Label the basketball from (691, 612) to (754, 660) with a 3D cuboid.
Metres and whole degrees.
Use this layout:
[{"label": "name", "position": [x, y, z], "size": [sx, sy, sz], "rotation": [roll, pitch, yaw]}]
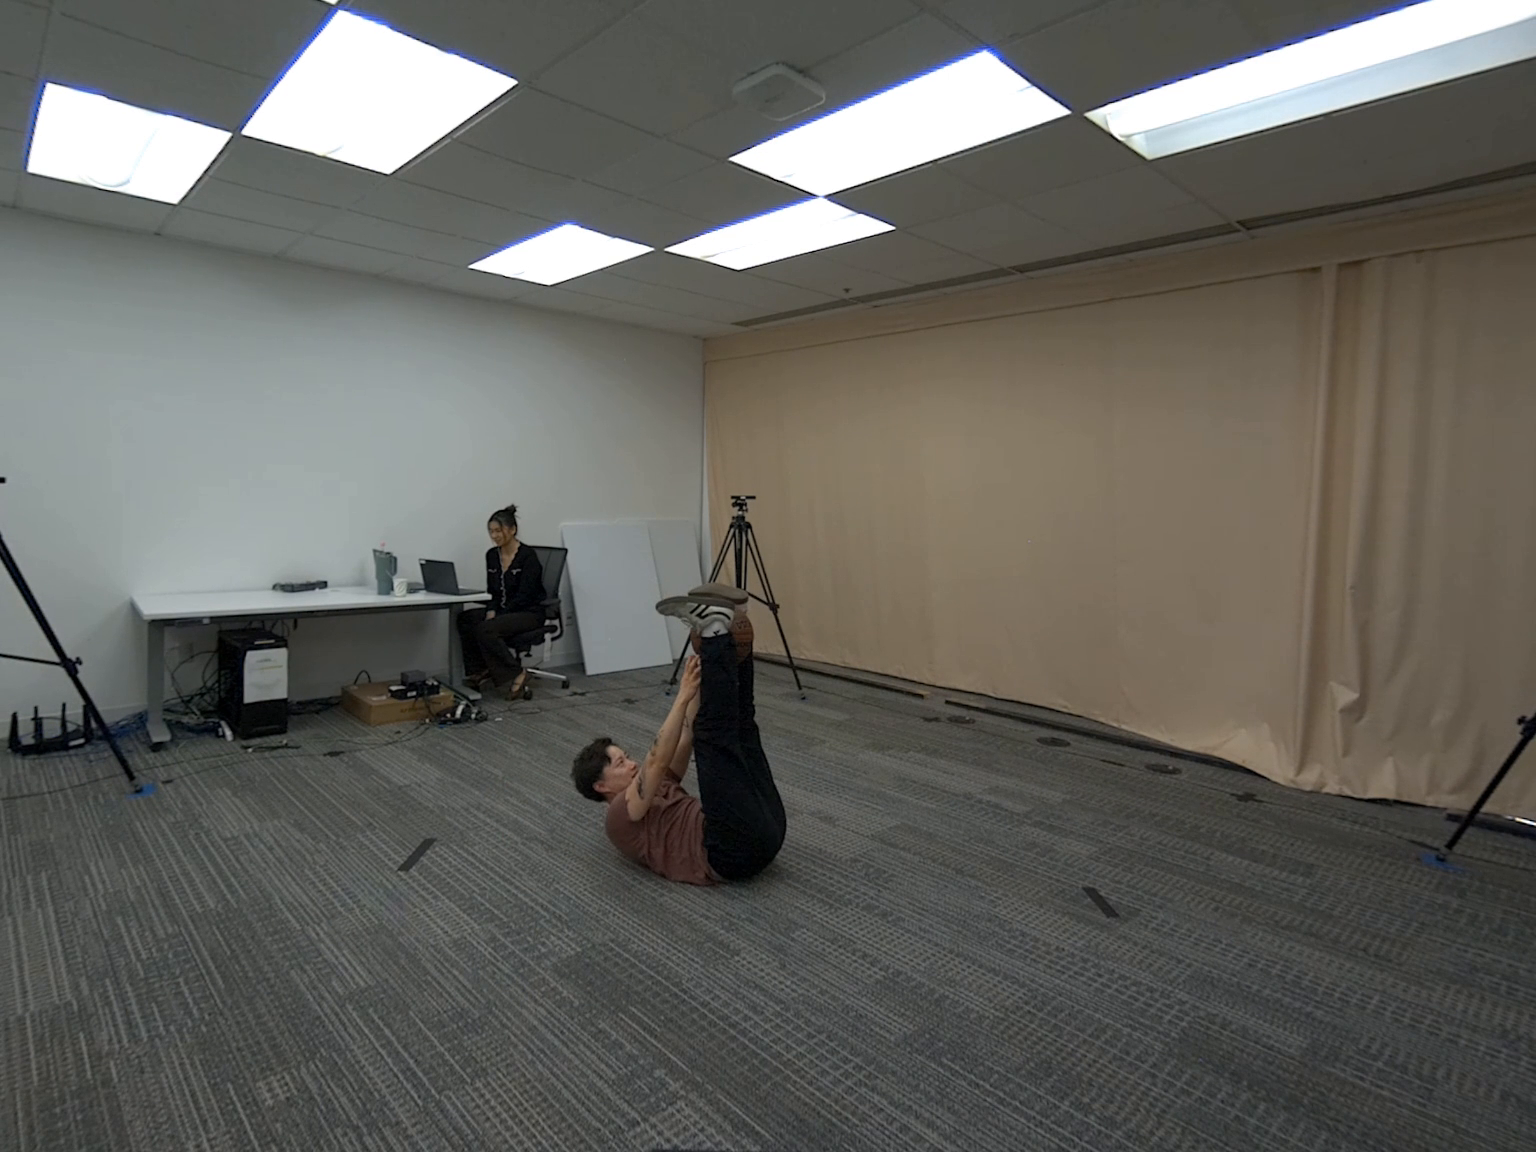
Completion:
[{"label": "basketball", "position": [-0.173, 0.223, 3.133], "size": [0.236, 0.234, 0.237], "rotation": [0, 8, -1]}]
